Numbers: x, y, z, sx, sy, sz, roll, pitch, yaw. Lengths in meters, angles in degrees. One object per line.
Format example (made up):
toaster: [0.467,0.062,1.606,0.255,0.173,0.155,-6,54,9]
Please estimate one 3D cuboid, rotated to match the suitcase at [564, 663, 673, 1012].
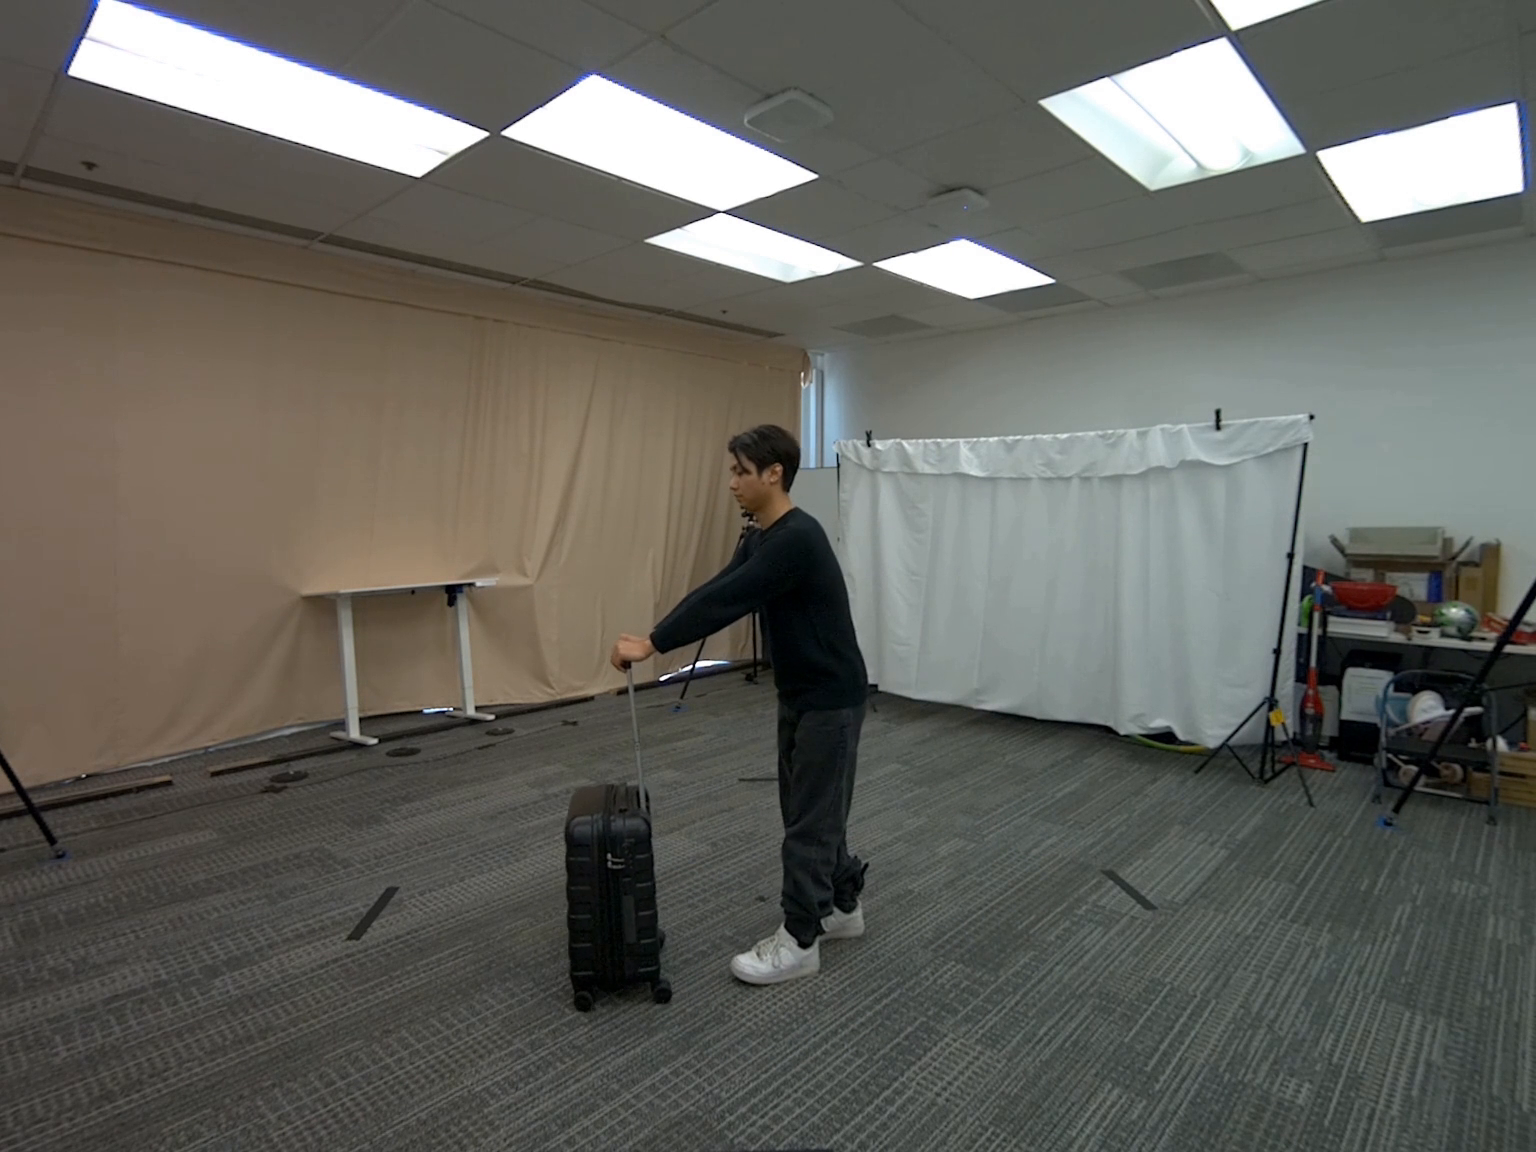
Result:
suitcase: [-0.472,0.721,2.480,0.255,0.977,0.387,-4,2,-7]
